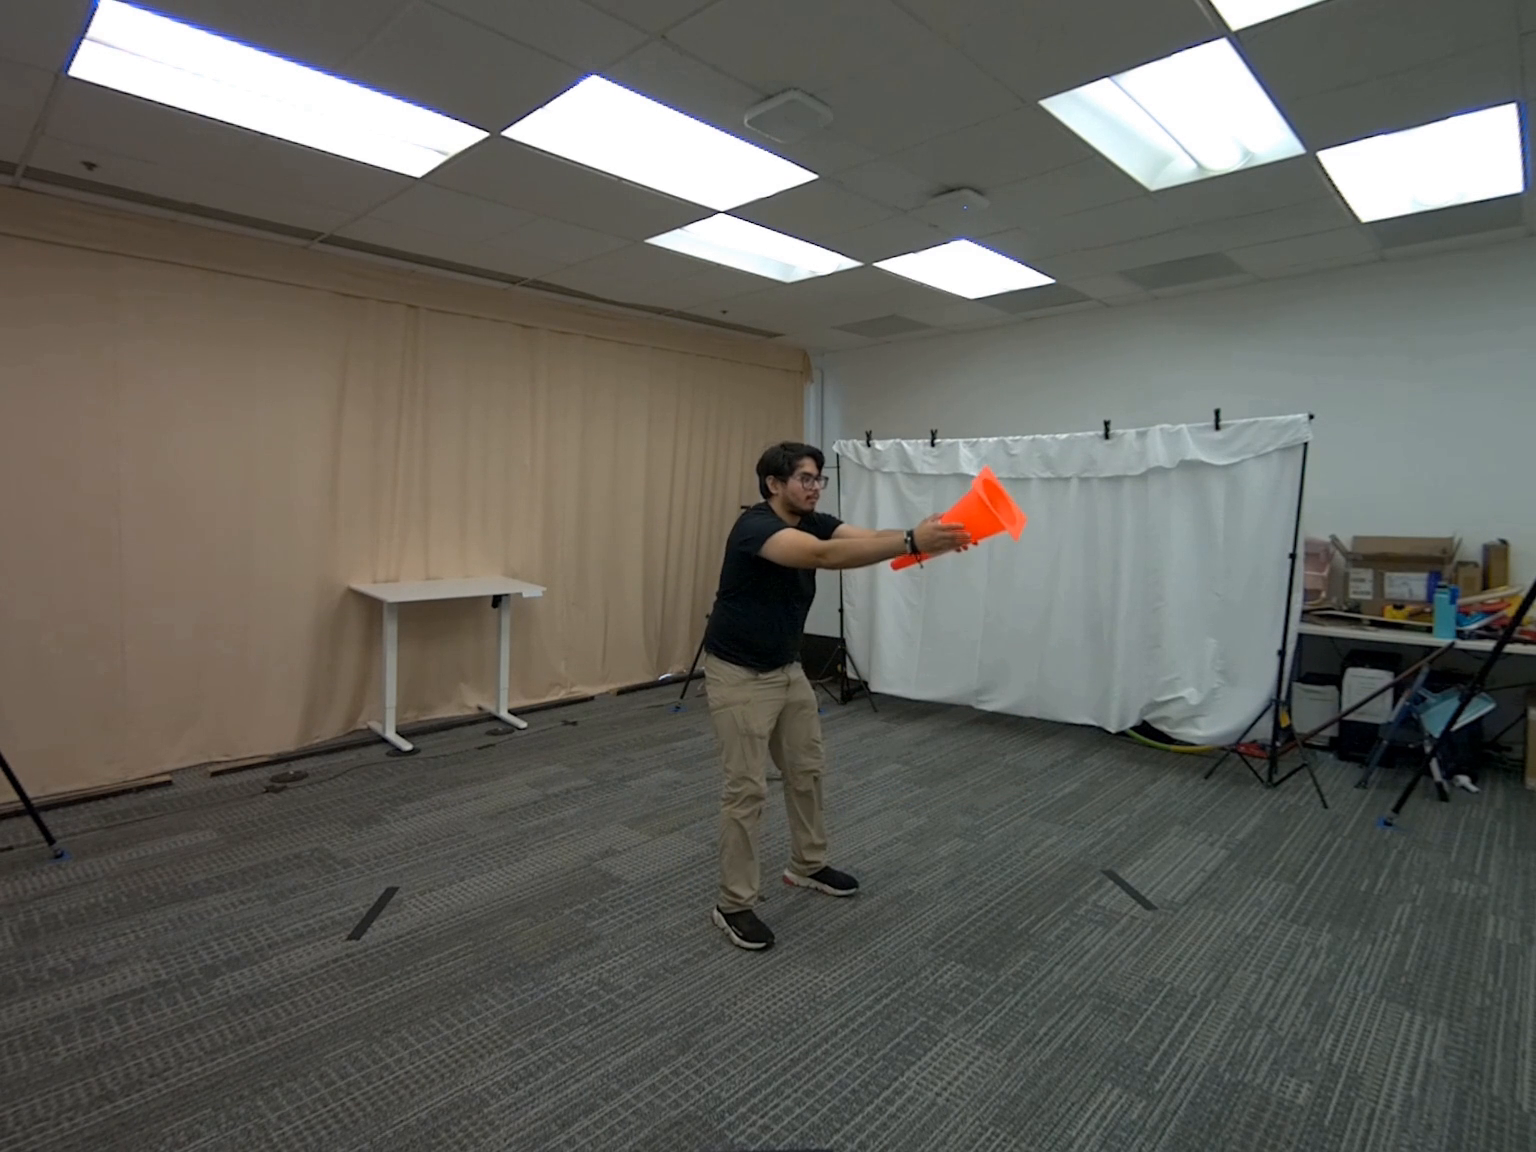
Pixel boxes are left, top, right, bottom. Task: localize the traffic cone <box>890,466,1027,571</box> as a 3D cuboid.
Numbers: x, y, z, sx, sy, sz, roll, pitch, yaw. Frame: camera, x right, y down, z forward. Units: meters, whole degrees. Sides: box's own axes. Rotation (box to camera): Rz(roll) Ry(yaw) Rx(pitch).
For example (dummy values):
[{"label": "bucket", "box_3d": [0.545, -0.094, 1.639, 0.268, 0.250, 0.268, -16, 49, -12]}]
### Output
[{"label": "traffic cone", "box_3d": [0.524, -0.103, 2.435, 0.389, 0.203, 0.202, -35, 1, 34]}]
